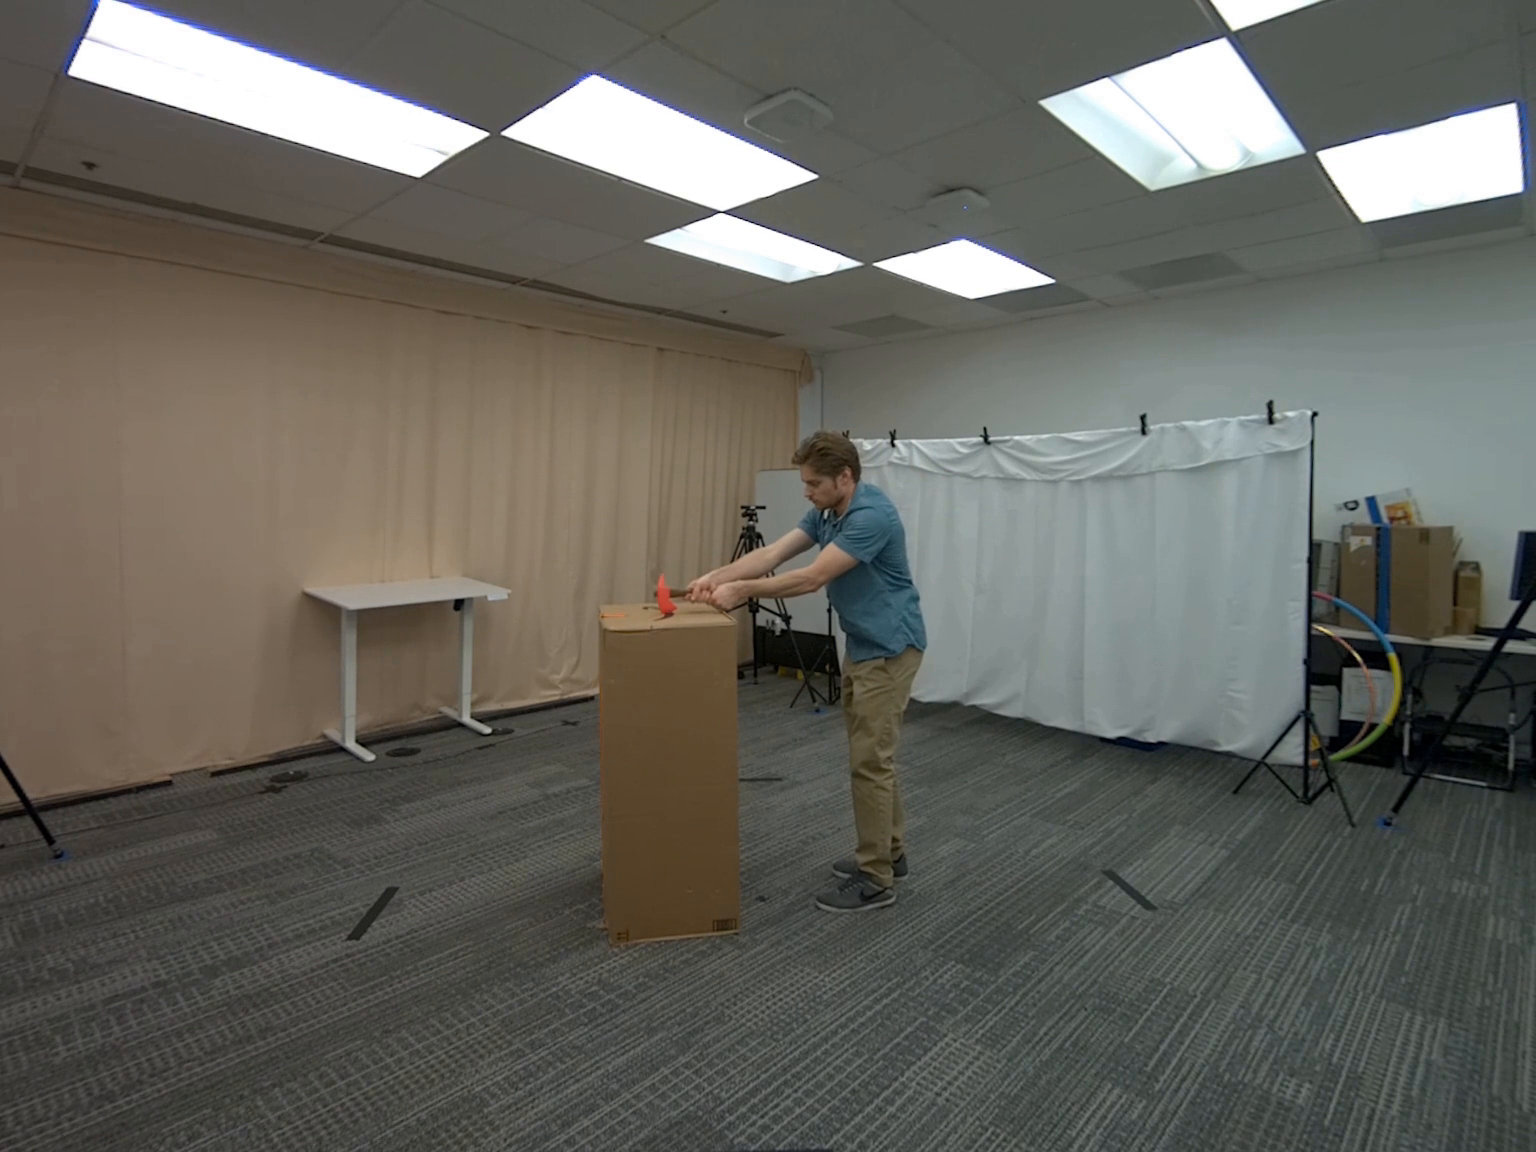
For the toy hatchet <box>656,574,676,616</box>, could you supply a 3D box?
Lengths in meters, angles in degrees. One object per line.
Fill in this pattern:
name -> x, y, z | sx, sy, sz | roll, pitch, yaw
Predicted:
toy hatchet -> -0.254, 0.100, 2.927 | 0.269, 0.131, 0.029 | 20, -9, -2
